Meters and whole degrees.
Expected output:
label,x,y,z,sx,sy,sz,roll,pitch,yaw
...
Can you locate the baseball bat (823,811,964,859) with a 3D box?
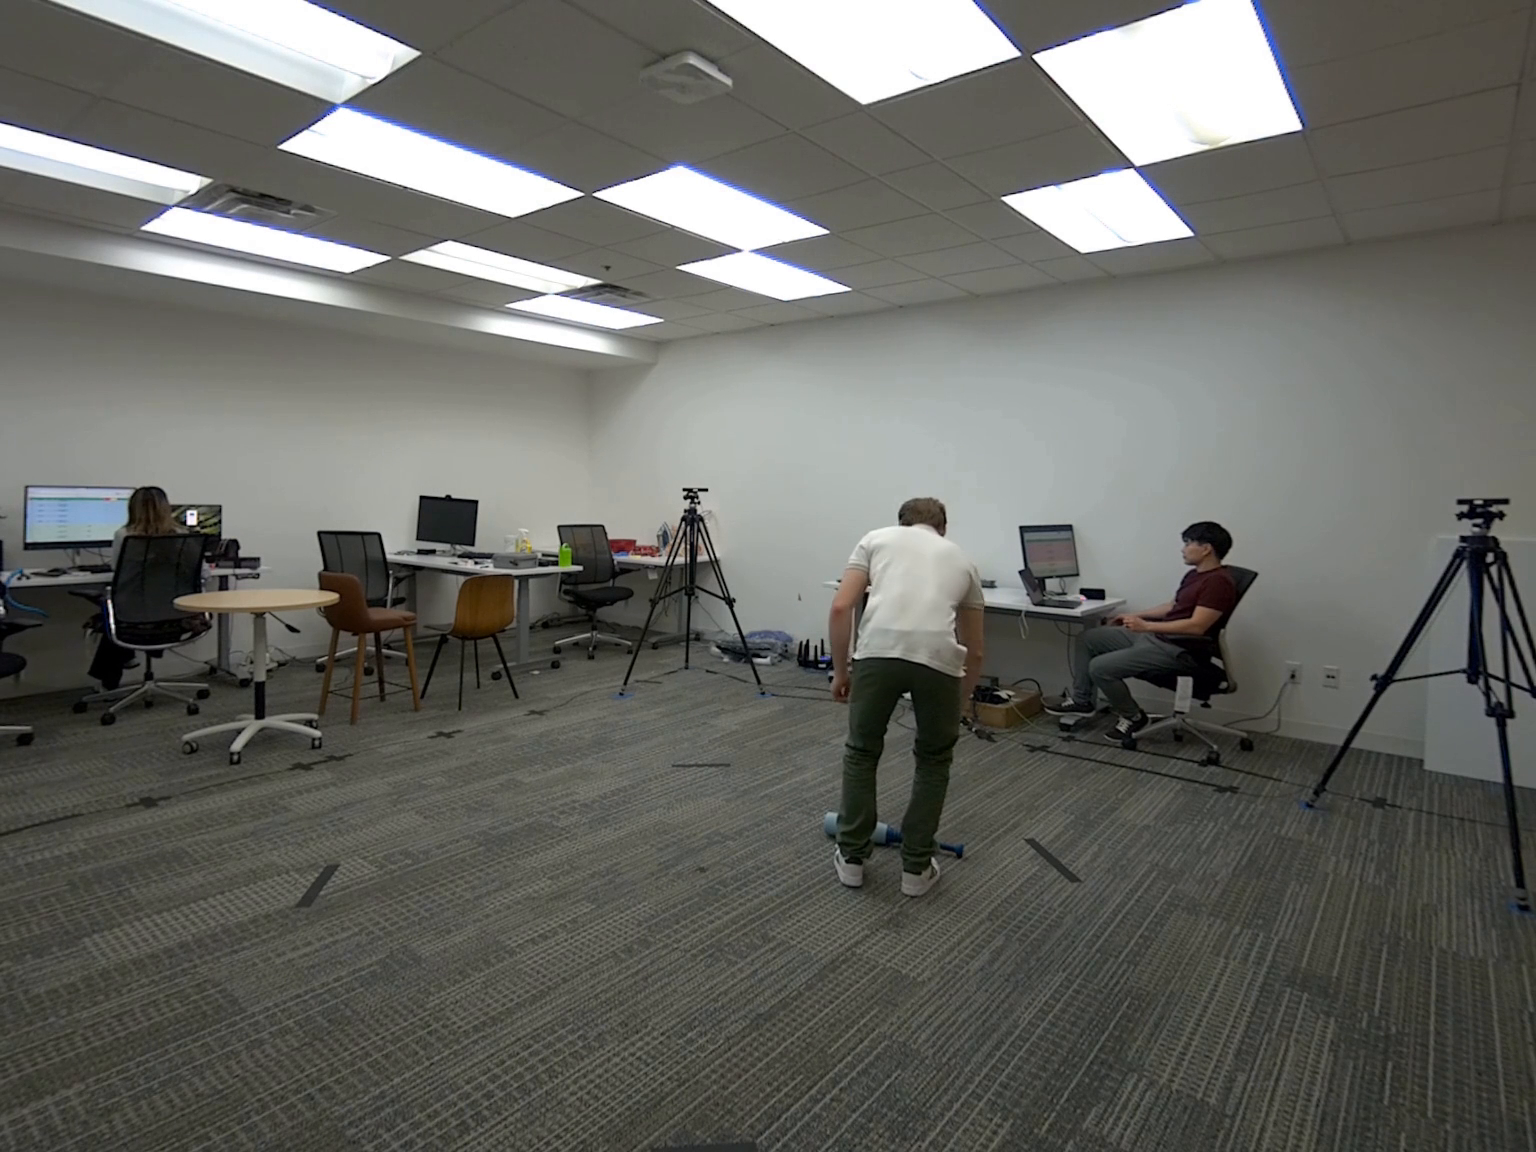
label,x,y,z,sx,sy,sz,roll,pitch,yaw
baseball bat,0.487,1.024,3.359,0.554,0.089,0.088,7,6,17
